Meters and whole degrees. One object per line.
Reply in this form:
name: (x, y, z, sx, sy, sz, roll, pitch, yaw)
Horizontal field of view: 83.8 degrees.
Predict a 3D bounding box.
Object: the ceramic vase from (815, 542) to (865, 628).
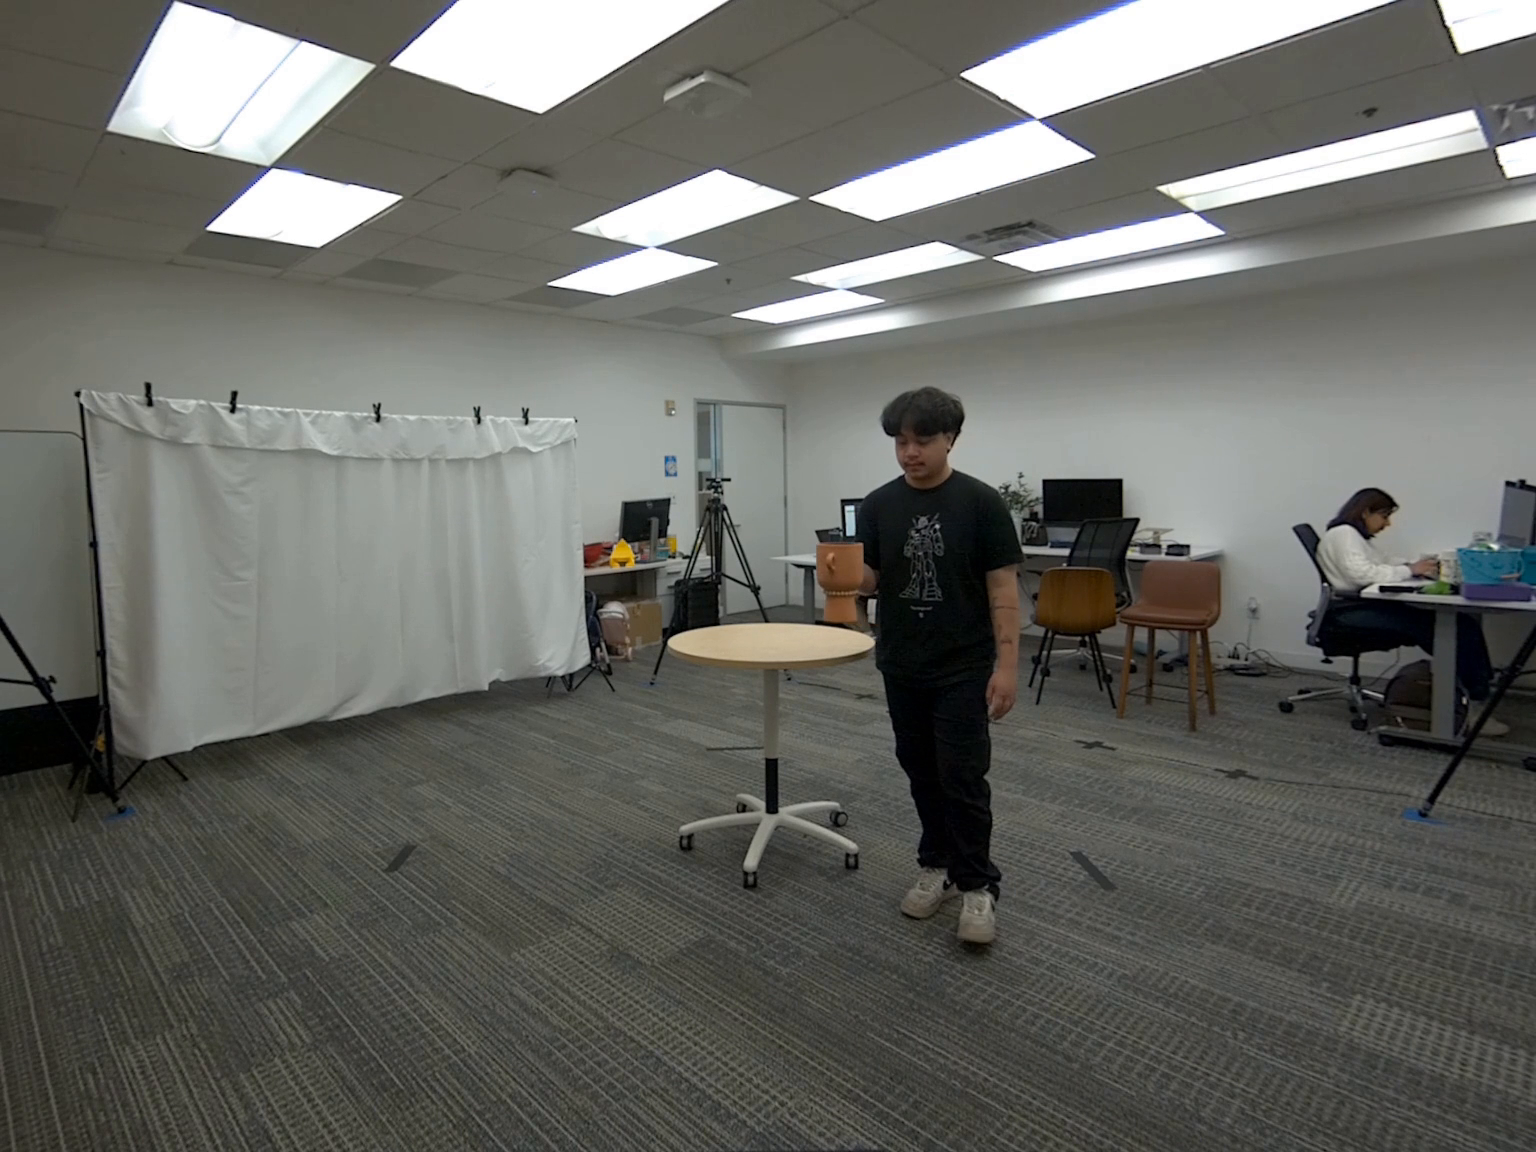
ceramic vase: (0.211, 0.019, 2.423, 0.155, 0.219, 0.138, -3, 4, -28)
